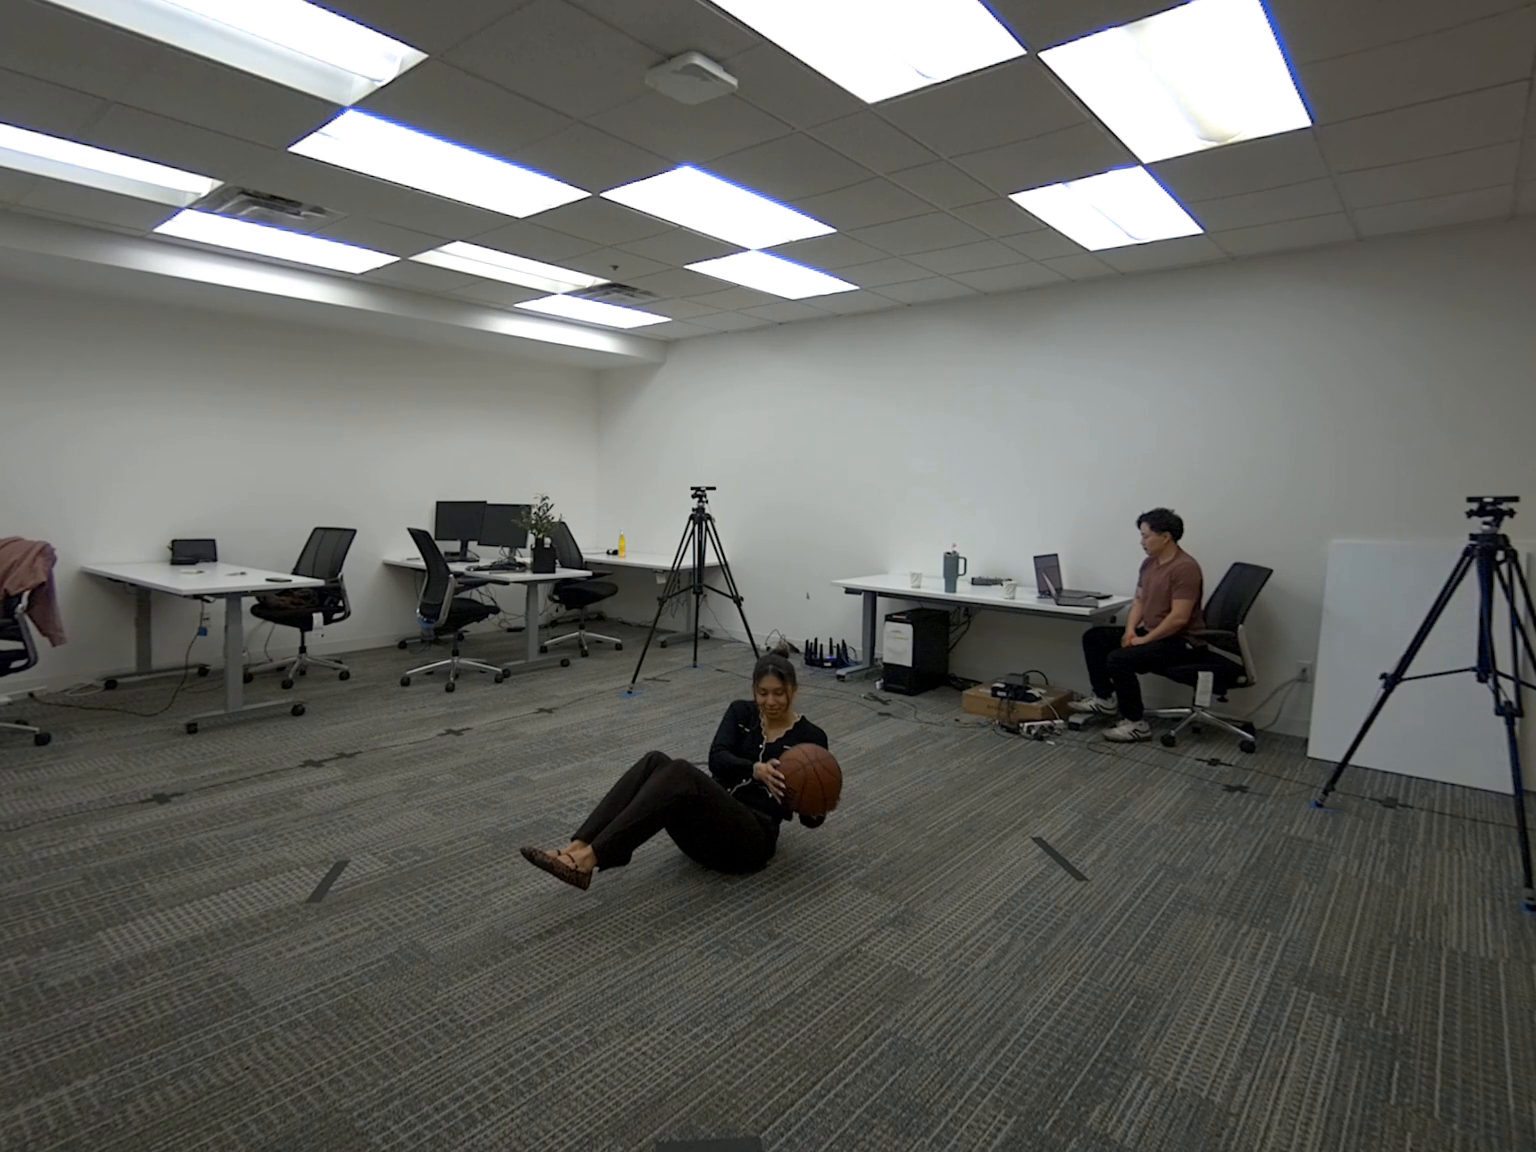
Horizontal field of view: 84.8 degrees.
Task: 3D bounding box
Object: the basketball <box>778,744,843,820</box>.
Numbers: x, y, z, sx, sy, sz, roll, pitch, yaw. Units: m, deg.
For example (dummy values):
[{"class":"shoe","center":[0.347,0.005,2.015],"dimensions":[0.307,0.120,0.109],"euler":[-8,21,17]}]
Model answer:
[{"class":"basketball","center":[0.115,0.686,2.925],"dimensions":[0.235,0.235,0.237],"euler":[1,4,-2]}]
